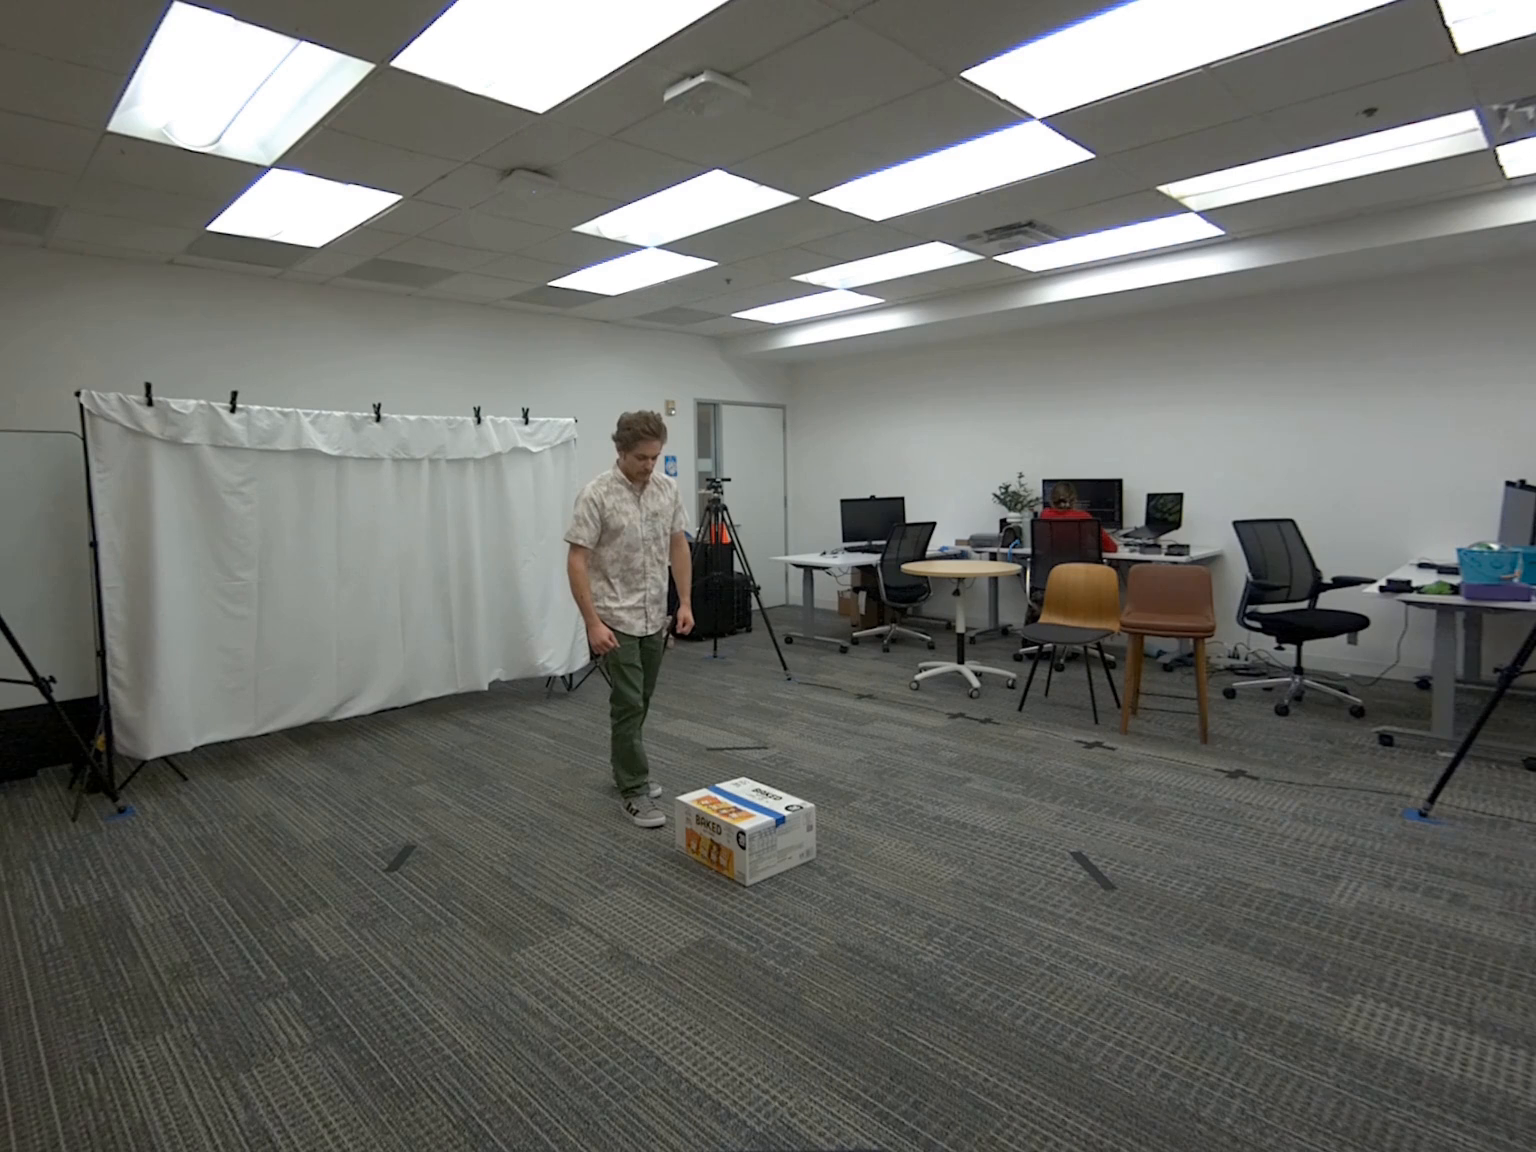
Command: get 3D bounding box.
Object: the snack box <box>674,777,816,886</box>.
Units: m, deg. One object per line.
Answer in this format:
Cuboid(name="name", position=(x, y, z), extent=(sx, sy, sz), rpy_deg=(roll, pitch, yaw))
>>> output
Cuboid(name="snack box", position=(-0.084, 0.935, 3.166), extent=(0.331, 0.205, 0.418), rpy_deg=(-6, 8, -41))
